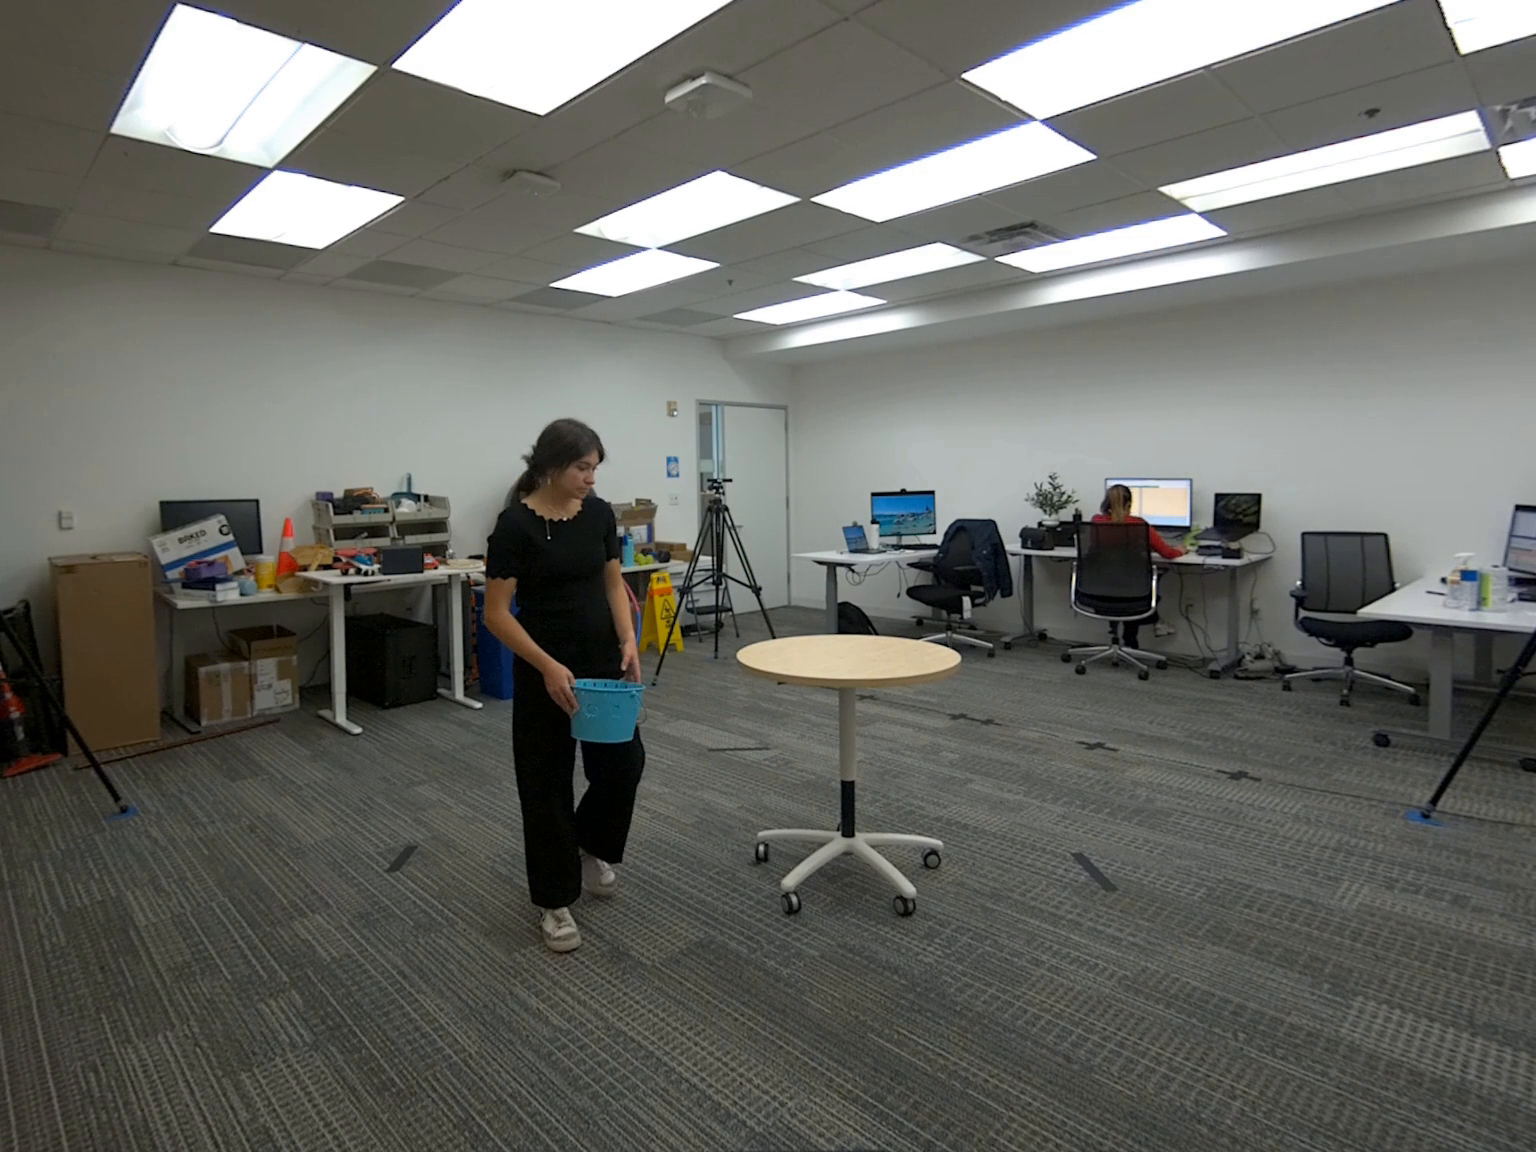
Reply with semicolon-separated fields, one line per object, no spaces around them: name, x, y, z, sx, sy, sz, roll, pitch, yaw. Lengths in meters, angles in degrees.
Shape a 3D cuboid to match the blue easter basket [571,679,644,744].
blue easter basket;-0.493;0.400;2.524;0.243;0.156;0.244;3;1;-2
